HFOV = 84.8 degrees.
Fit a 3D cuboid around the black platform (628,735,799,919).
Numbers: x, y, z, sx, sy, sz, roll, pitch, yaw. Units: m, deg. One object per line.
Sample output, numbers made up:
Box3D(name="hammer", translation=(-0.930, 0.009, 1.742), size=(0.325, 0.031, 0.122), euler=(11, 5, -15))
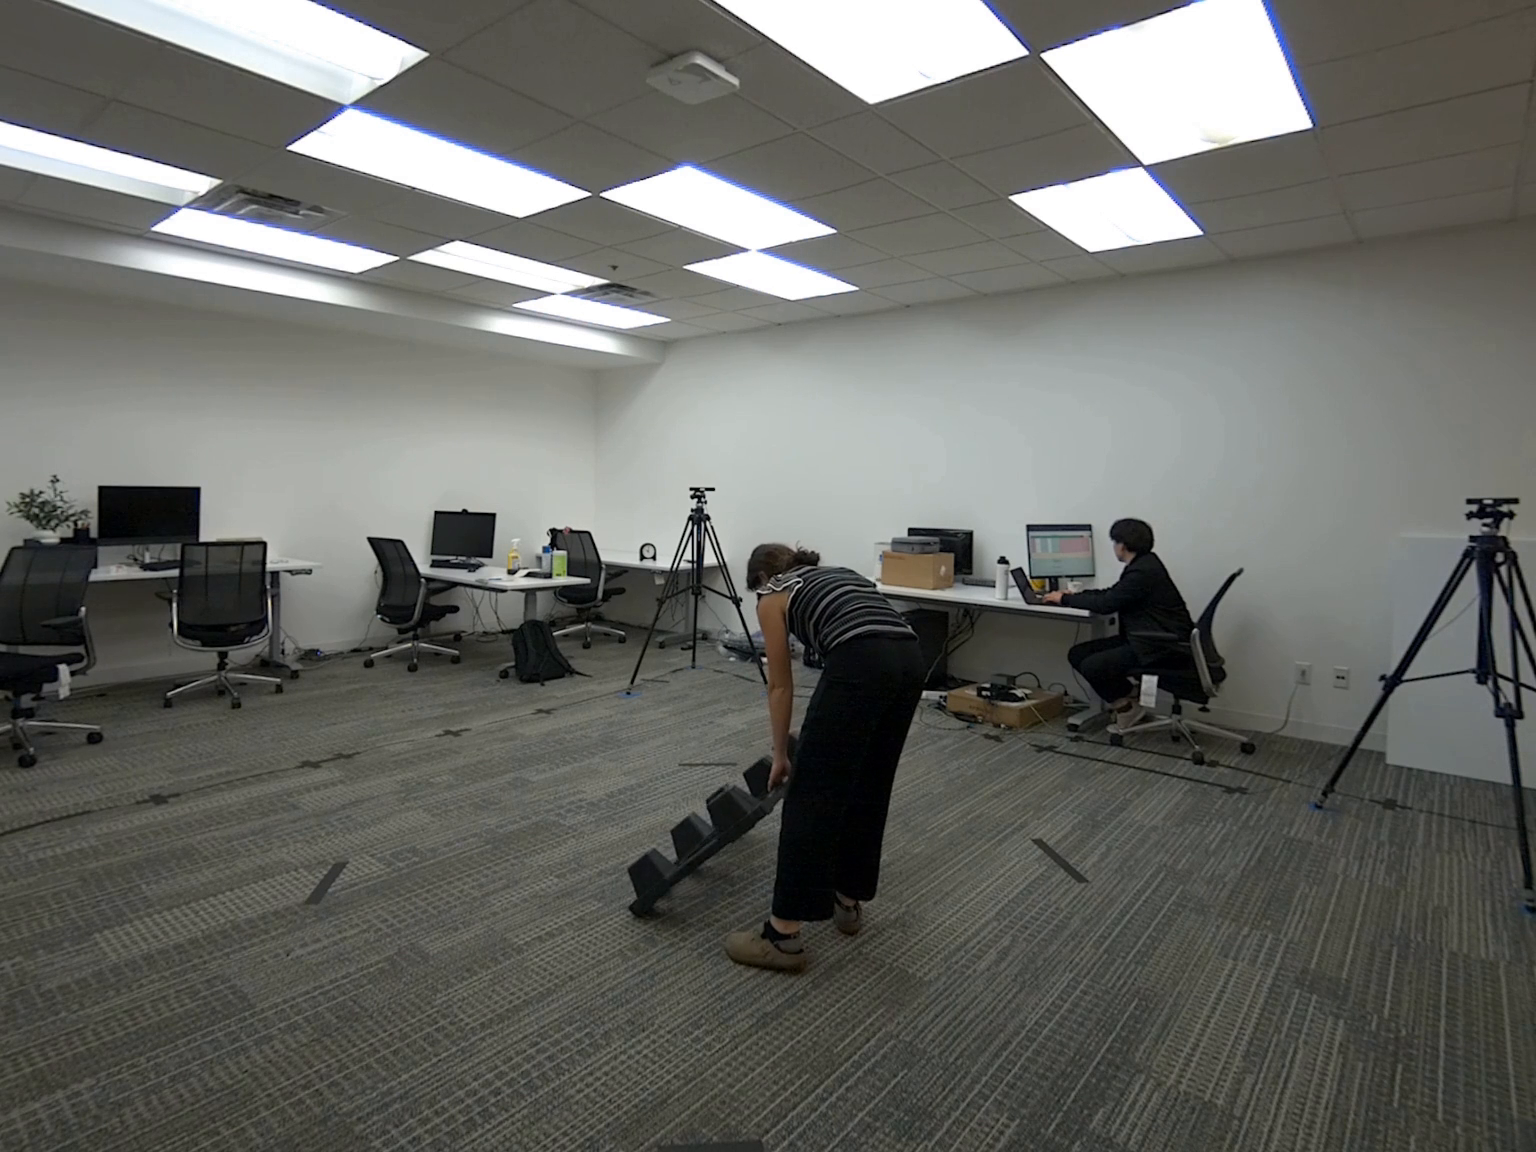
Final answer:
Box3D(name="black platform", translation=(-0.146, 0.827, 3.020), size=(0.606, 0.145, 0.792), euler=(-41, -8, 17))
